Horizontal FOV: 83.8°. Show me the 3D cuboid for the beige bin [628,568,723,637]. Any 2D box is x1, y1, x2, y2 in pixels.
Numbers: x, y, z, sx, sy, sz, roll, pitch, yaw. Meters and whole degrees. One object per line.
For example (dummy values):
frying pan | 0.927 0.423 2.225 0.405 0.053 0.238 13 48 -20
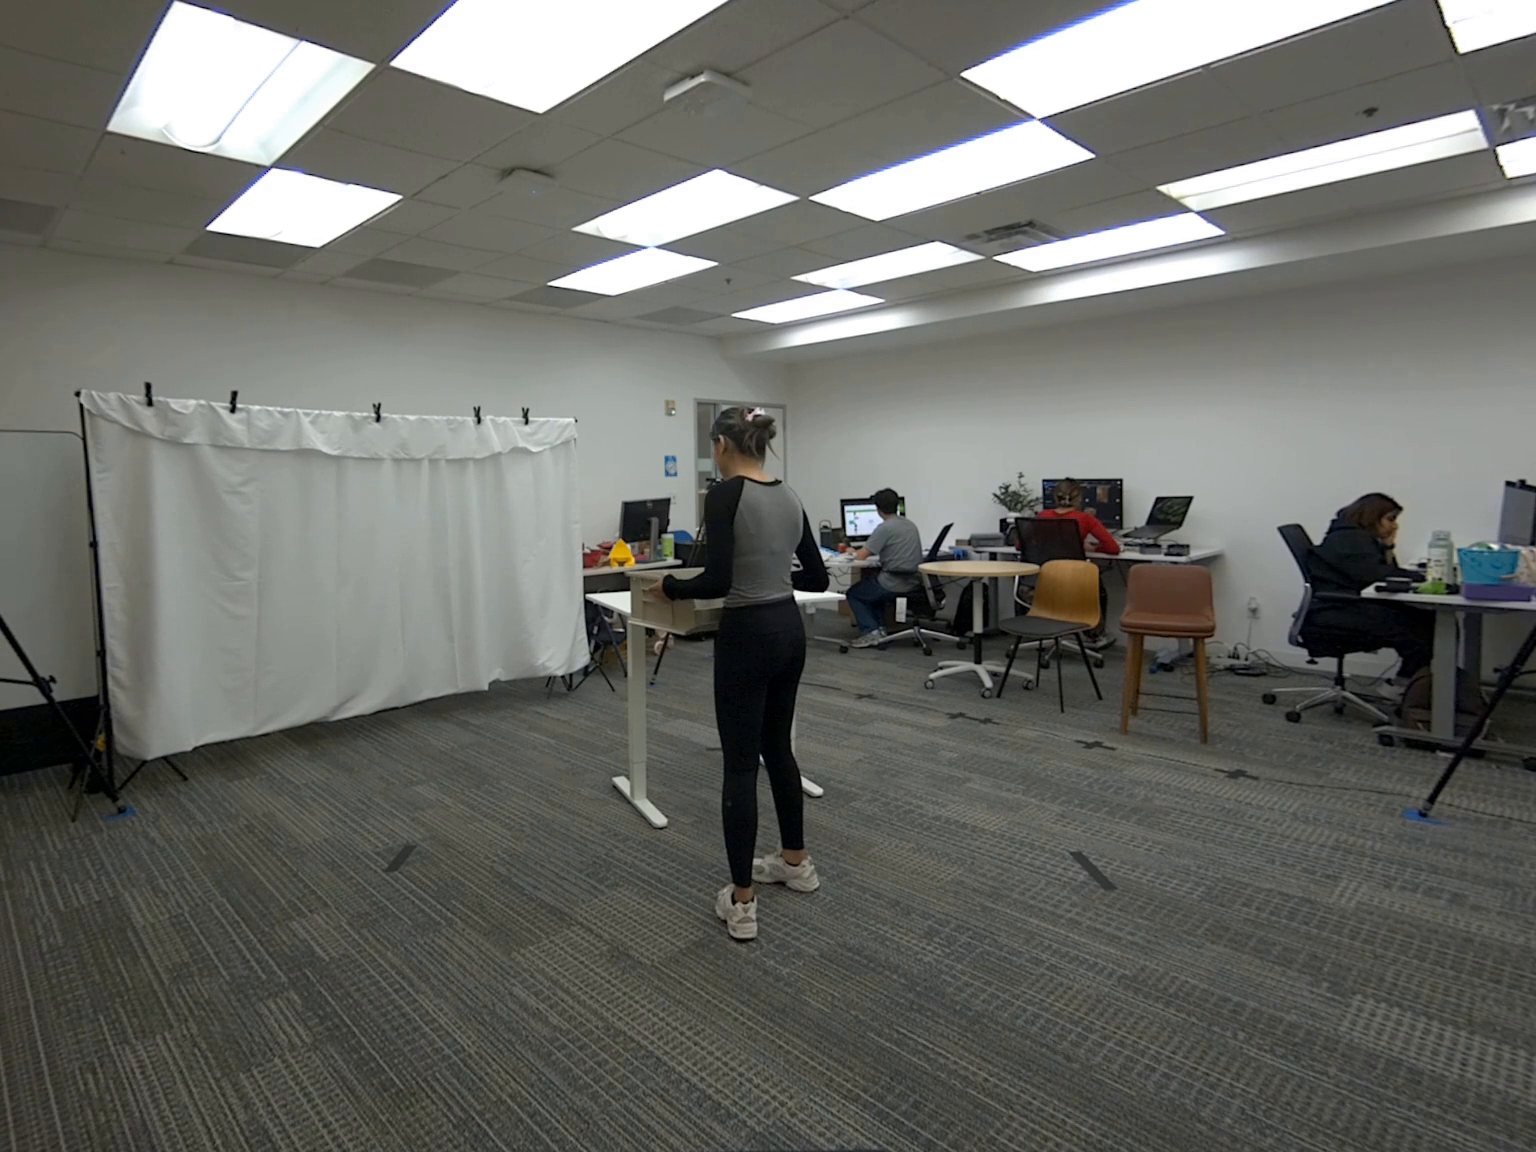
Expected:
beige bin | -0.221 0.085 2.999 0.411 0.188 0.389 -4 5 -43
